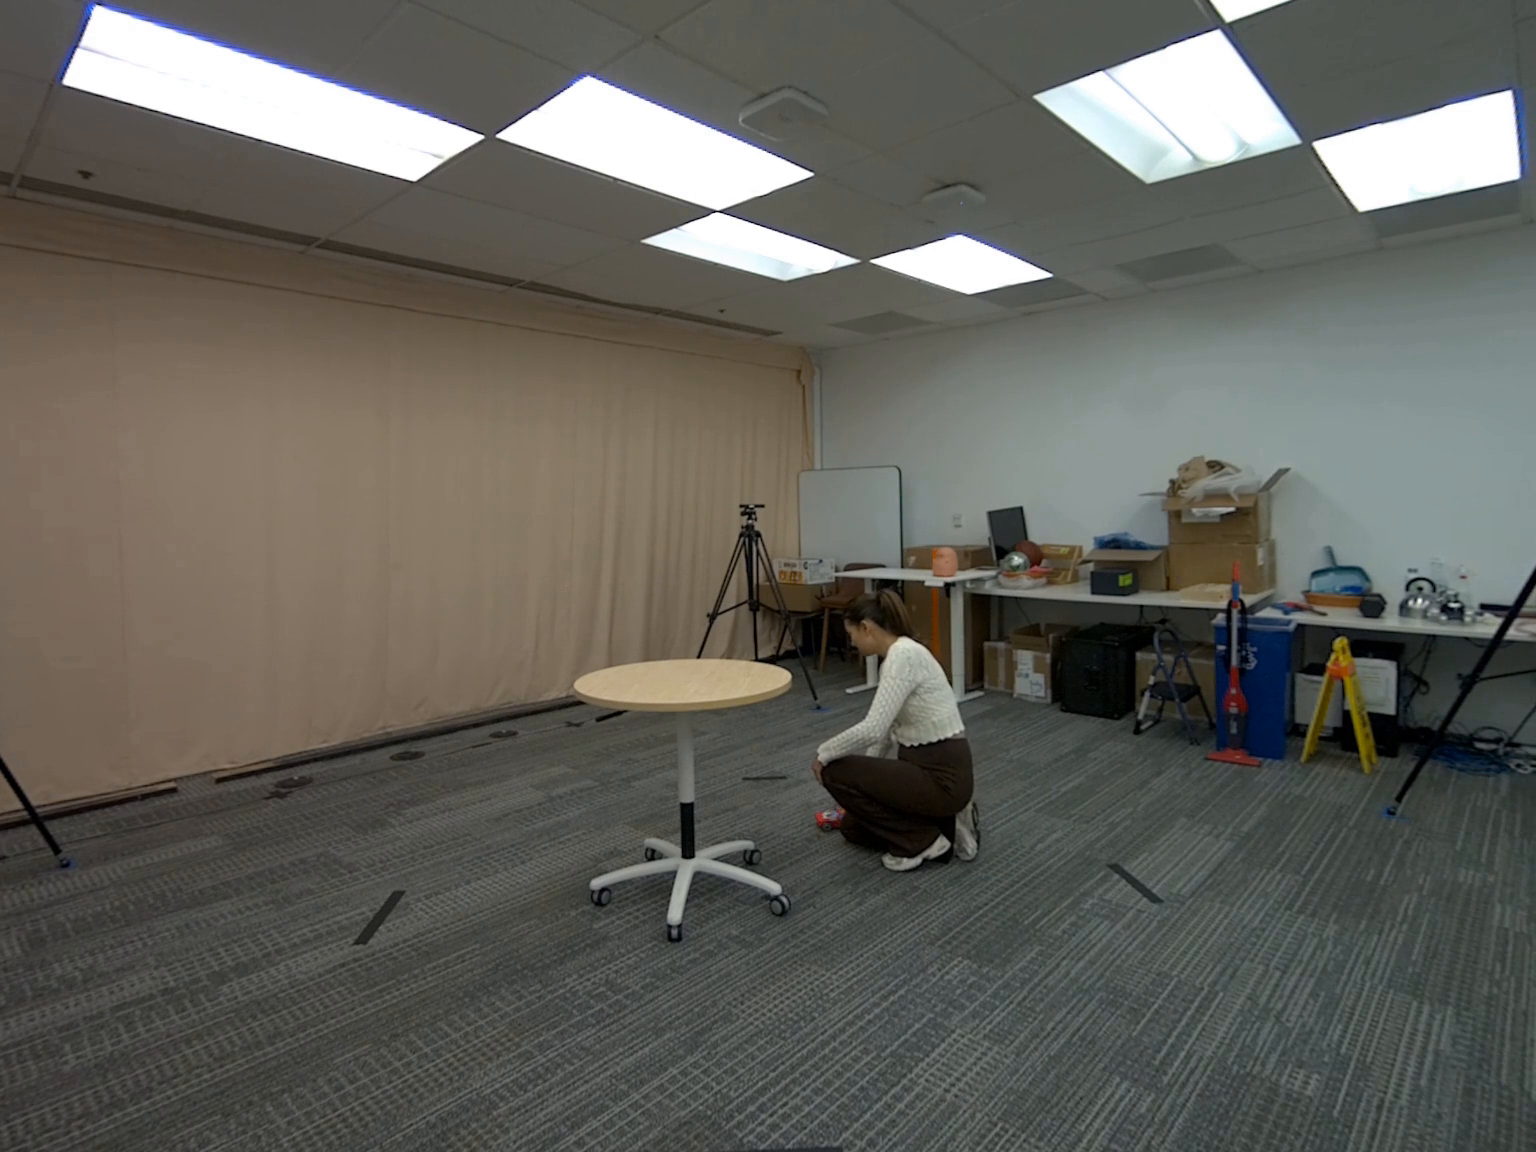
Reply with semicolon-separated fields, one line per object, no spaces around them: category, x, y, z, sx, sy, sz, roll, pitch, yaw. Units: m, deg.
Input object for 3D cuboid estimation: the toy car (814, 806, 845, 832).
toy car;0.337;1.046;3.637;0.253;0.083;0.131;-12;6;-6
